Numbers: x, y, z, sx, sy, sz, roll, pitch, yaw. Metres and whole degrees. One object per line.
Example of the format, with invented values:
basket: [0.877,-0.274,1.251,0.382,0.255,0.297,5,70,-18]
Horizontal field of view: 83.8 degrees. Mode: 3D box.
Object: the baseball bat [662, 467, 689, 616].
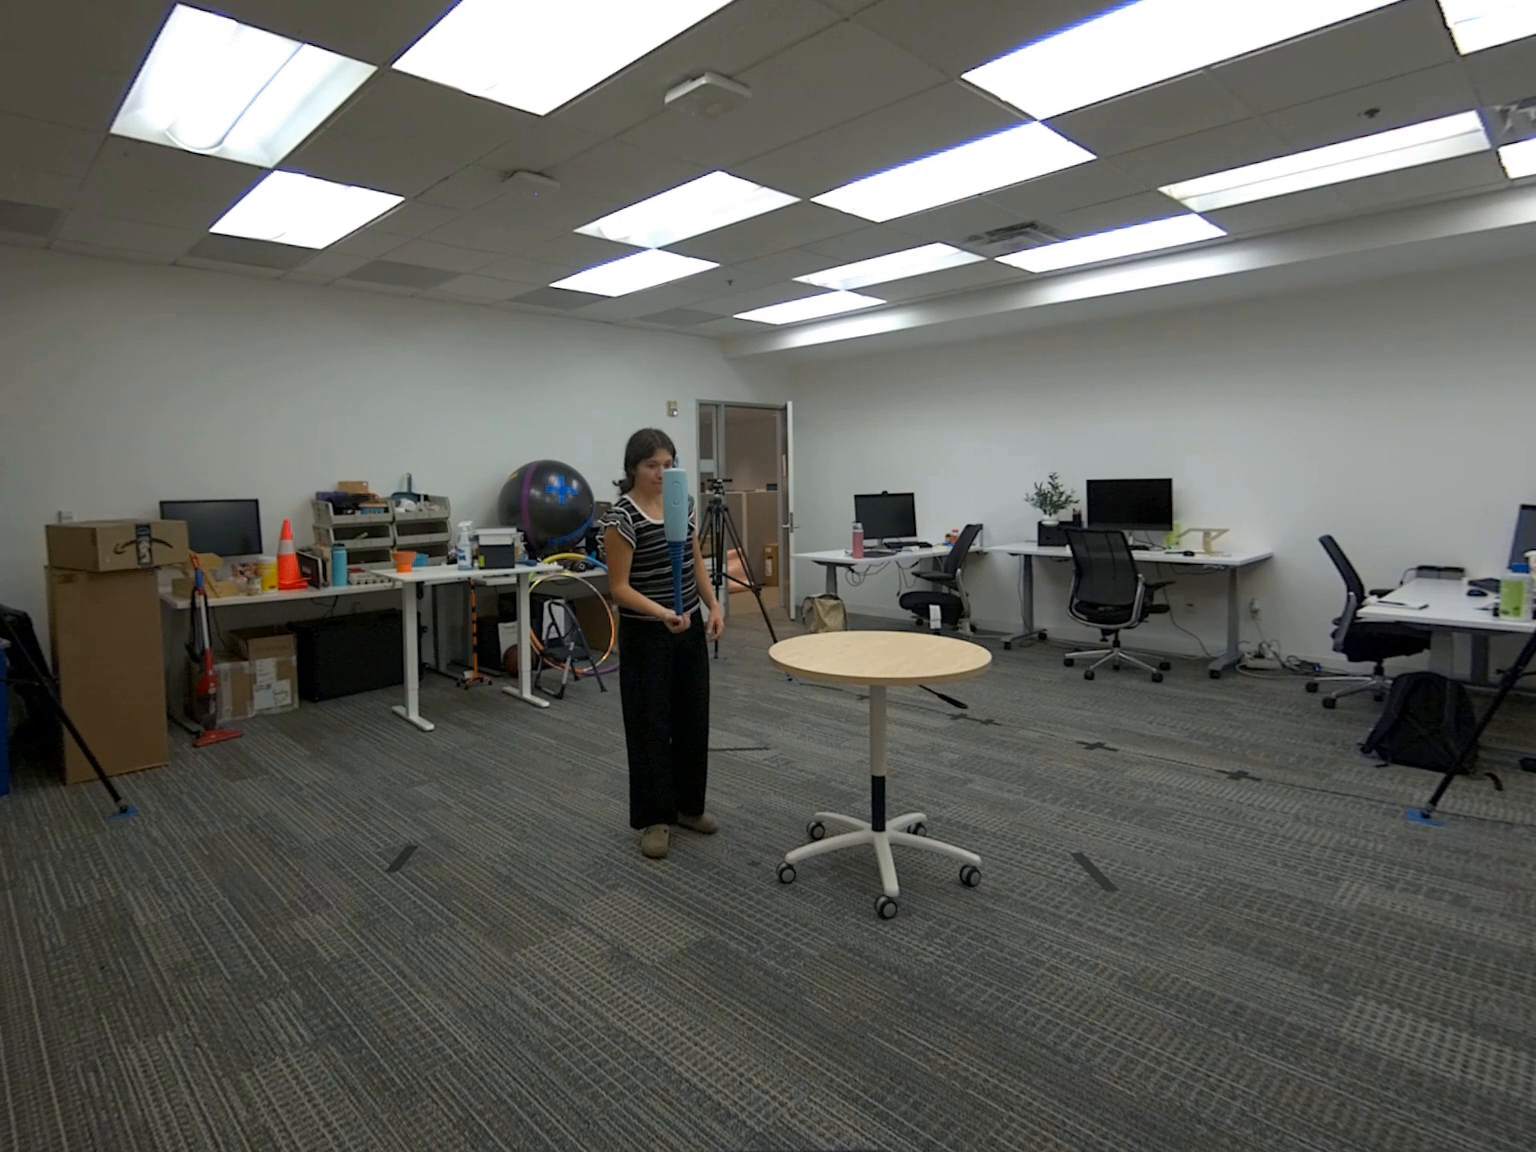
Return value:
baseball bat: [-0.324,-0.103,2.972,0.089,0.541,0.089,0,3,-2]
